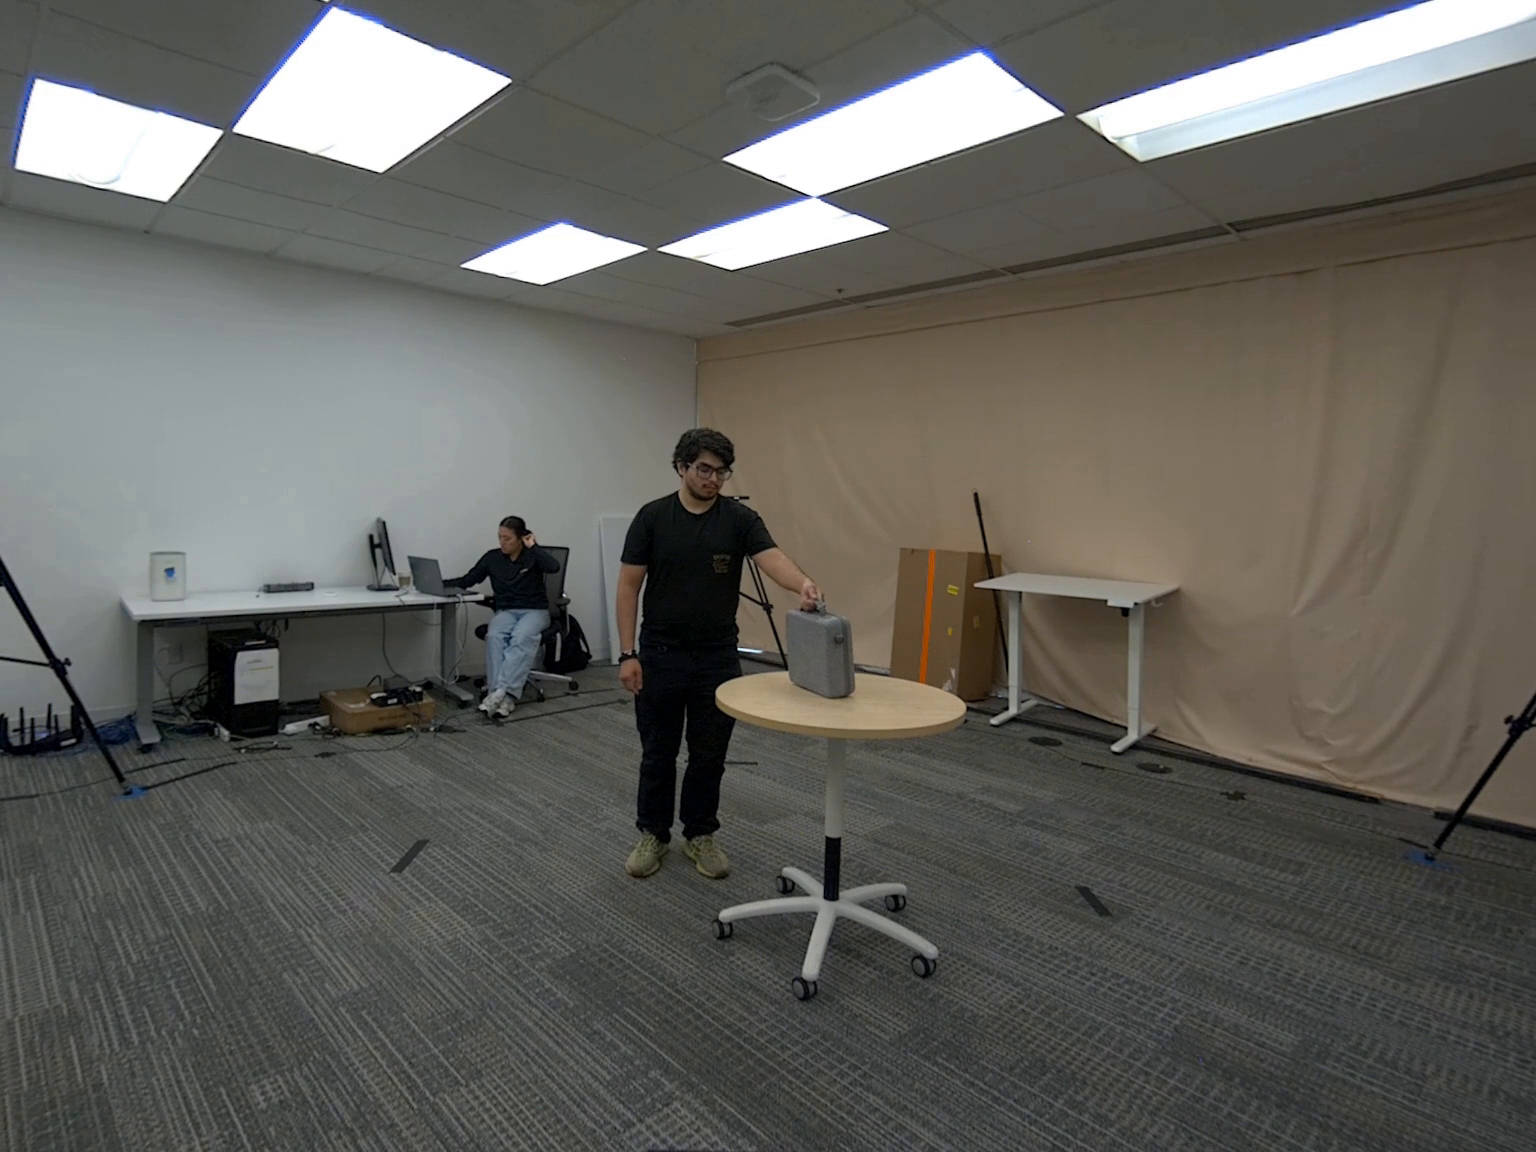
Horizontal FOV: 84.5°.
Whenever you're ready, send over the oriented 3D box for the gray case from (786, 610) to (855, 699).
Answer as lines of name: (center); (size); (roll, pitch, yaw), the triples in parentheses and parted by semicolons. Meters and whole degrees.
gray case: (0.160, 0.235, 2.670); (0.102, 0.259, 0.263); (-6, 9, -28)
